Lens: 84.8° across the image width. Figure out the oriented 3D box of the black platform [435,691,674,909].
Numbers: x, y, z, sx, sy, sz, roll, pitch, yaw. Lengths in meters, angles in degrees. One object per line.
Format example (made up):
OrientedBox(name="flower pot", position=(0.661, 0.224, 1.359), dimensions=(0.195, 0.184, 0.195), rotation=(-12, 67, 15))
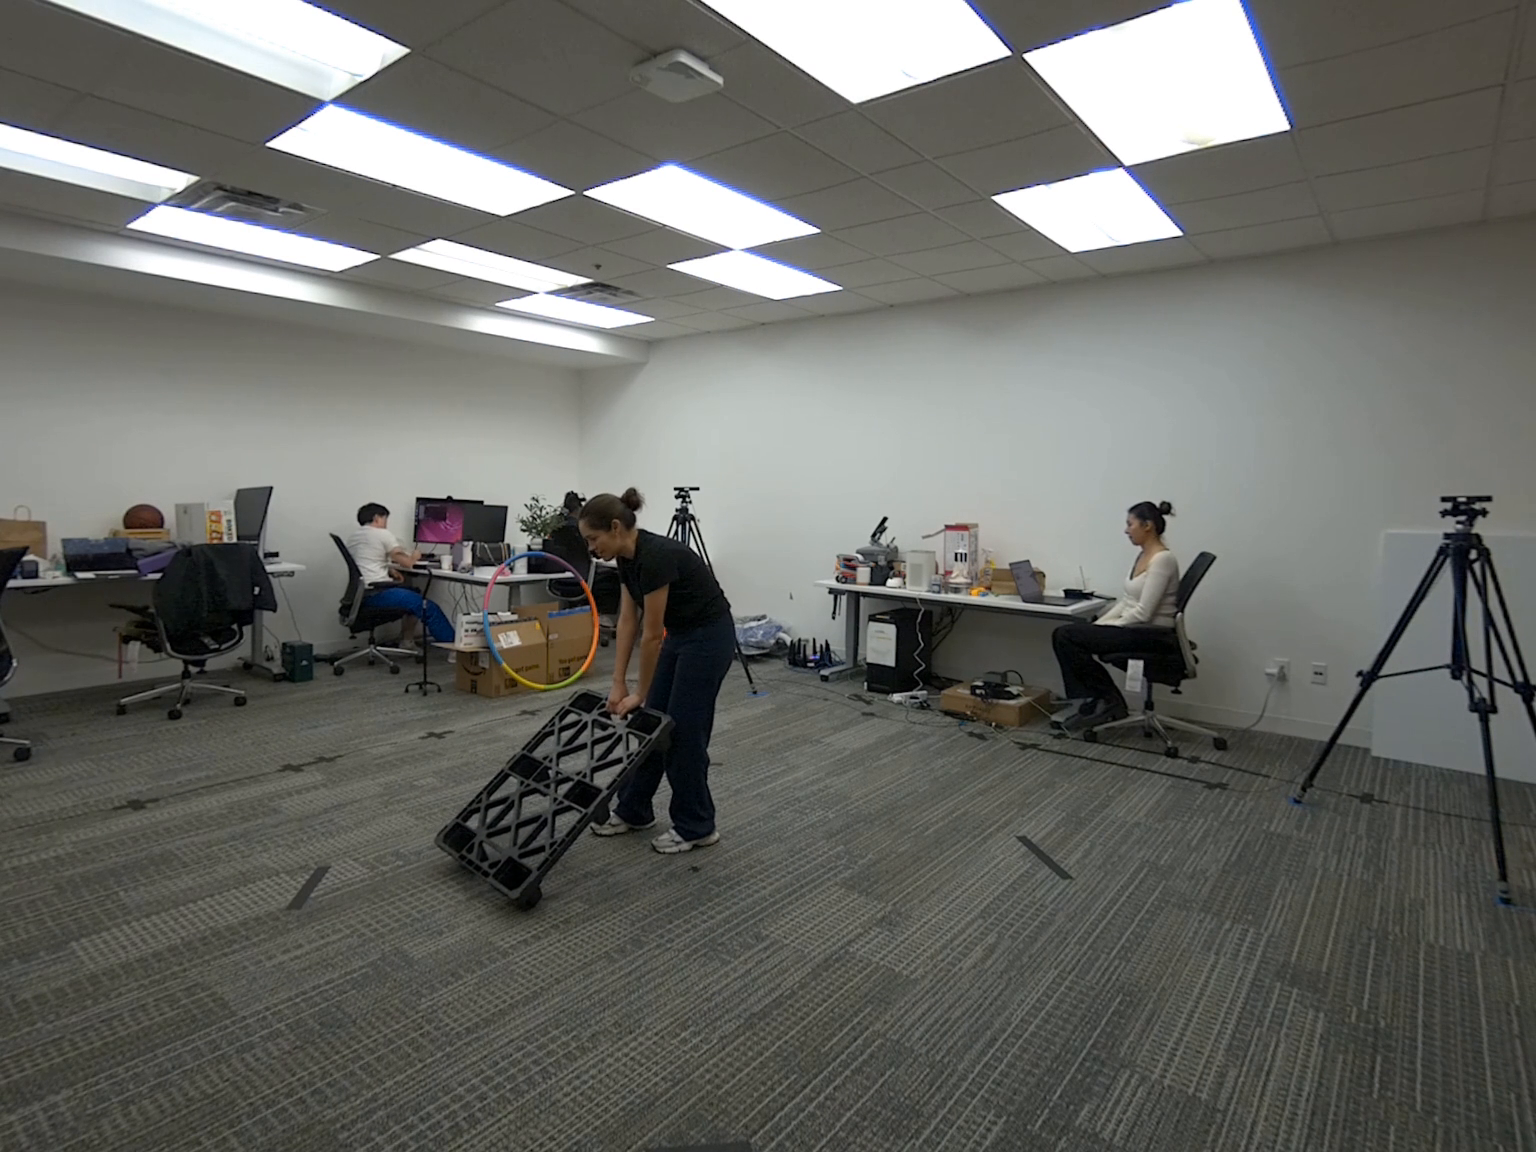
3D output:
OrientedBox(name="black platform", position=(-0.749, 0.781, 3.144), dimensions=(0.626, 0.138, 0.805), rotation=(7, 45, 44))
